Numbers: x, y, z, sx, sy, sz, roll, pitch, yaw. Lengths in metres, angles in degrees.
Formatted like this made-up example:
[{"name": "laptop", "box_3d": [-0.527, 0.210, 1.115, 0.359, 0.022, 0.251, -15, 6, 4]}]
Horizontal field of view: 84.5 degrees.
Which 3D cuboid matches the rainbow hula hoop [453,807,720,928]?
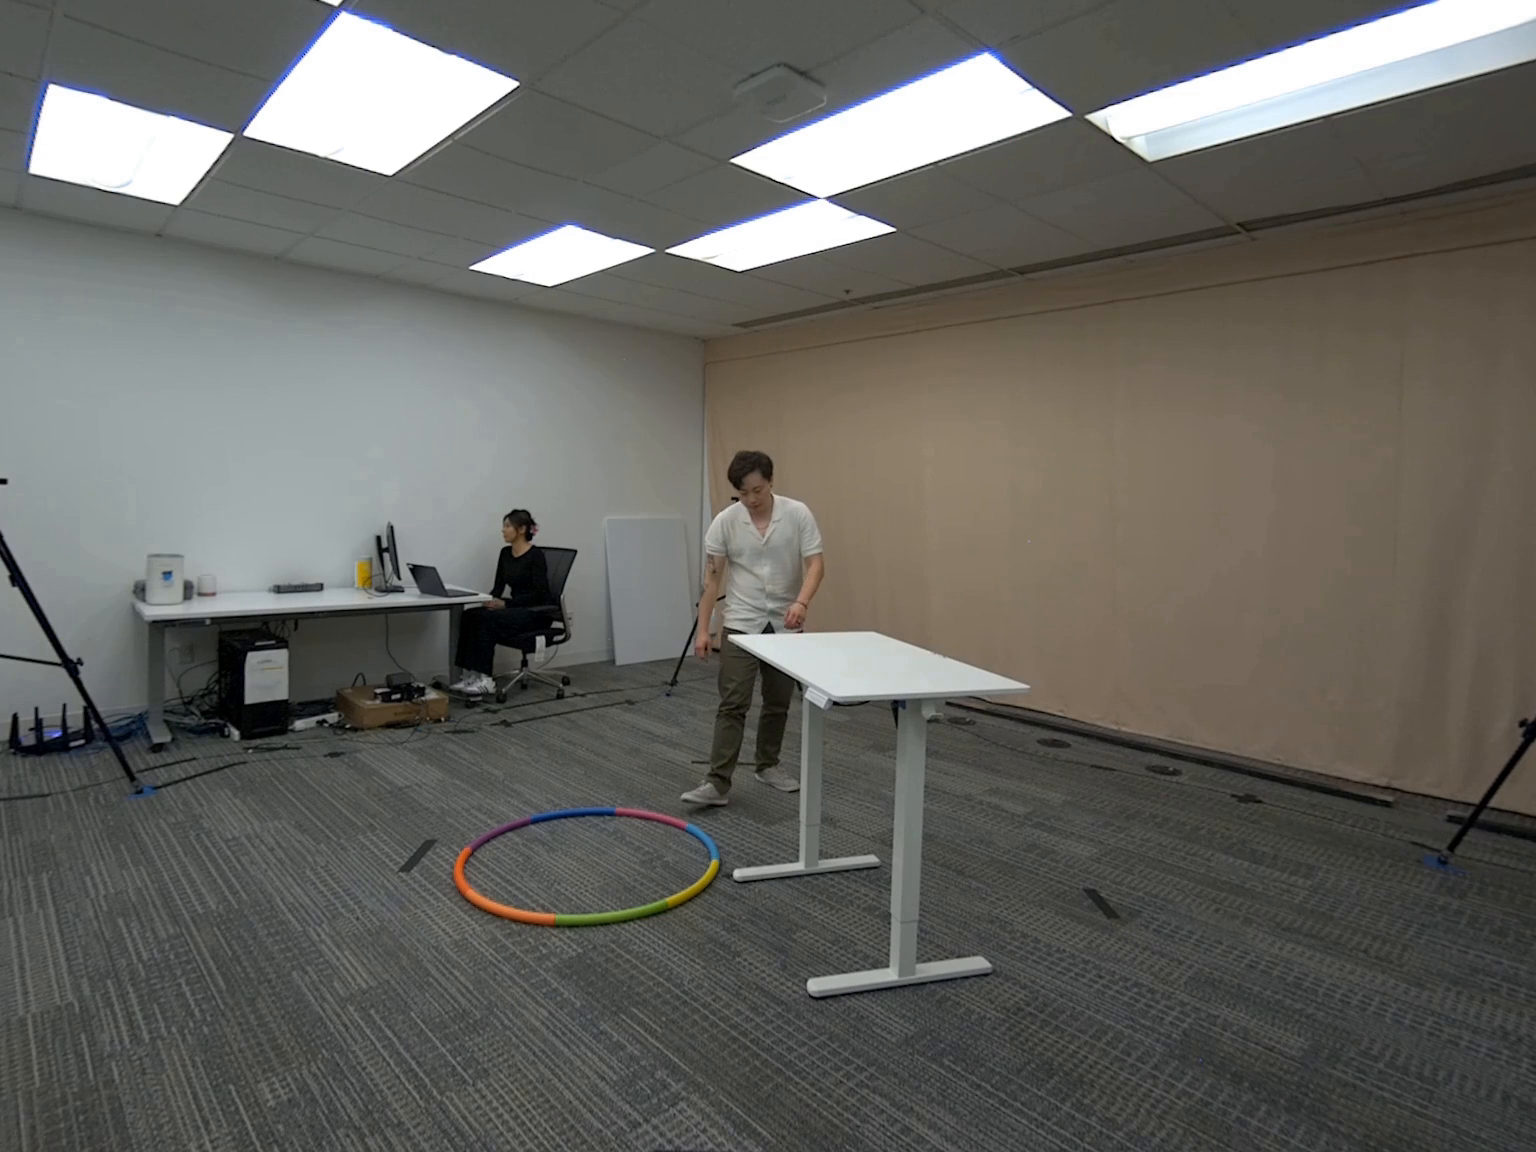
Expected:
[{"name": "rainbow hula hoop", "box_3d": [-0.676, 1.055, 3.192, 0.978, 0.035, 0.982, 1, 5, -1]}]
